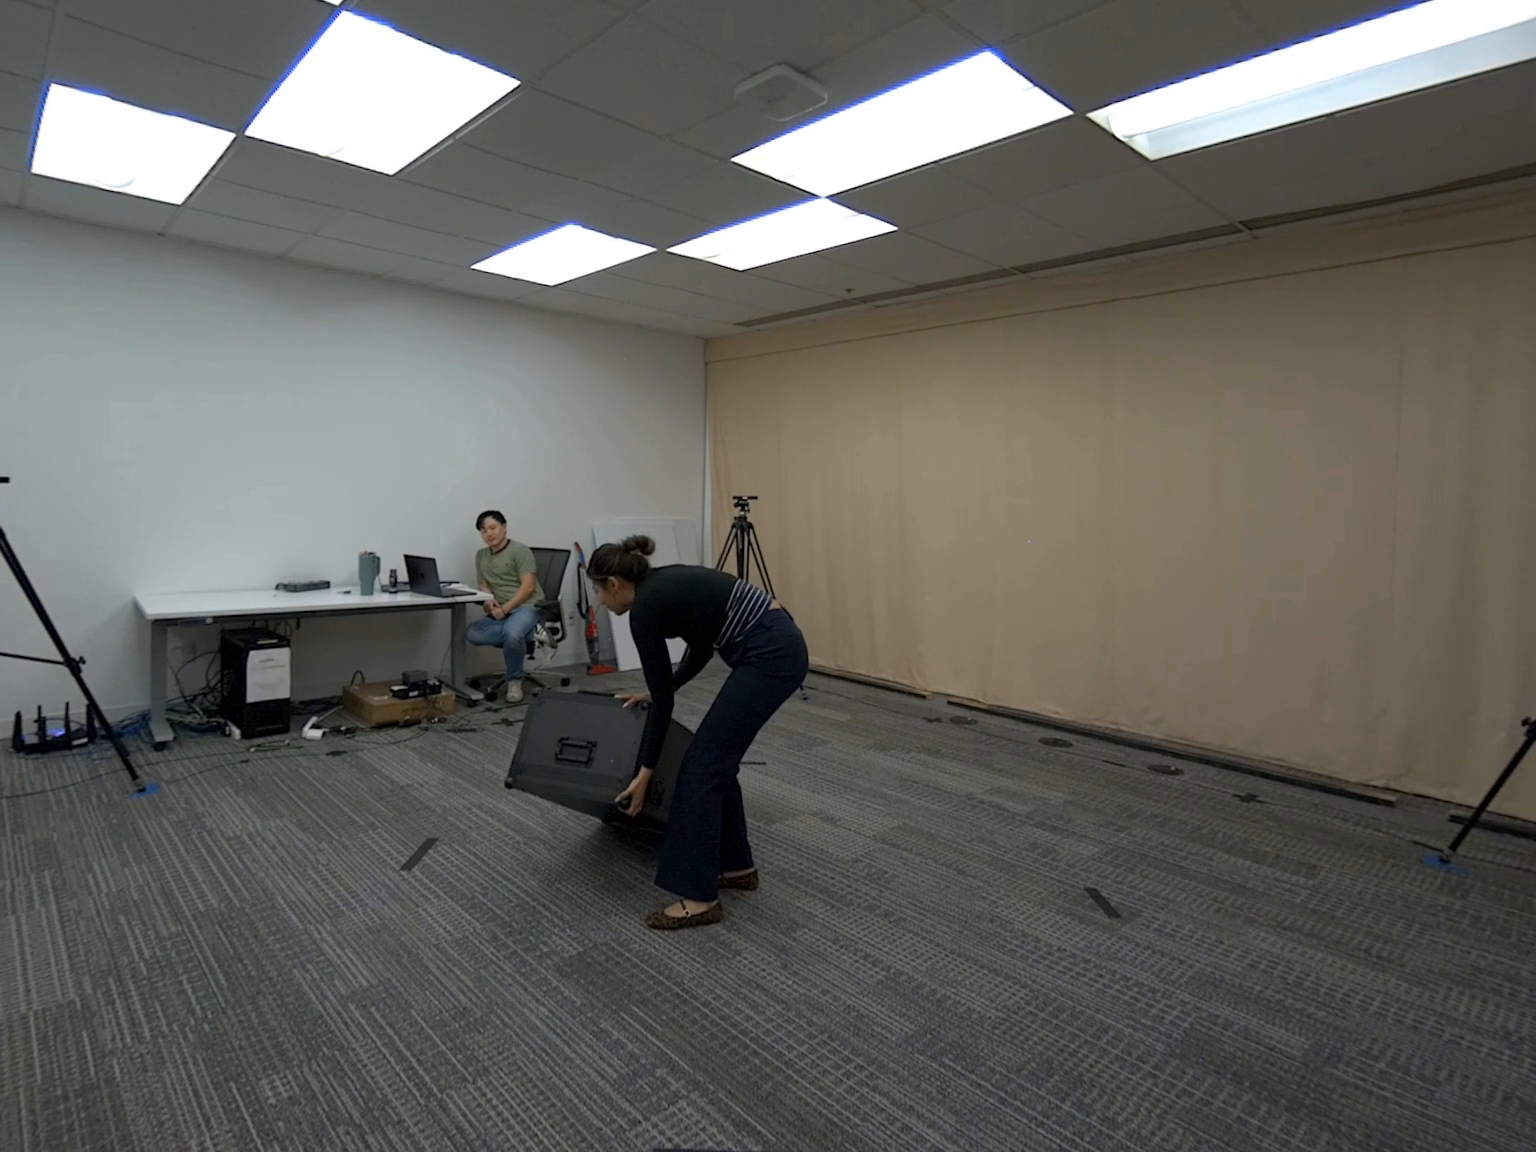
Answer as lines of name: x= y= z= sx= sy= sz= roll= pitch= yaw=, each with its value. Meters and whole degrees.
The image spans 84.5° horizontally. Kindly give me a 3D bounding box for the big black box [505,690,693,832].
big black box: x=-0.550 y=0.742 z=3.277 sx=0.530 sy=0.401 sz=0.837 roll=3 pitch=-24 yaw=20
